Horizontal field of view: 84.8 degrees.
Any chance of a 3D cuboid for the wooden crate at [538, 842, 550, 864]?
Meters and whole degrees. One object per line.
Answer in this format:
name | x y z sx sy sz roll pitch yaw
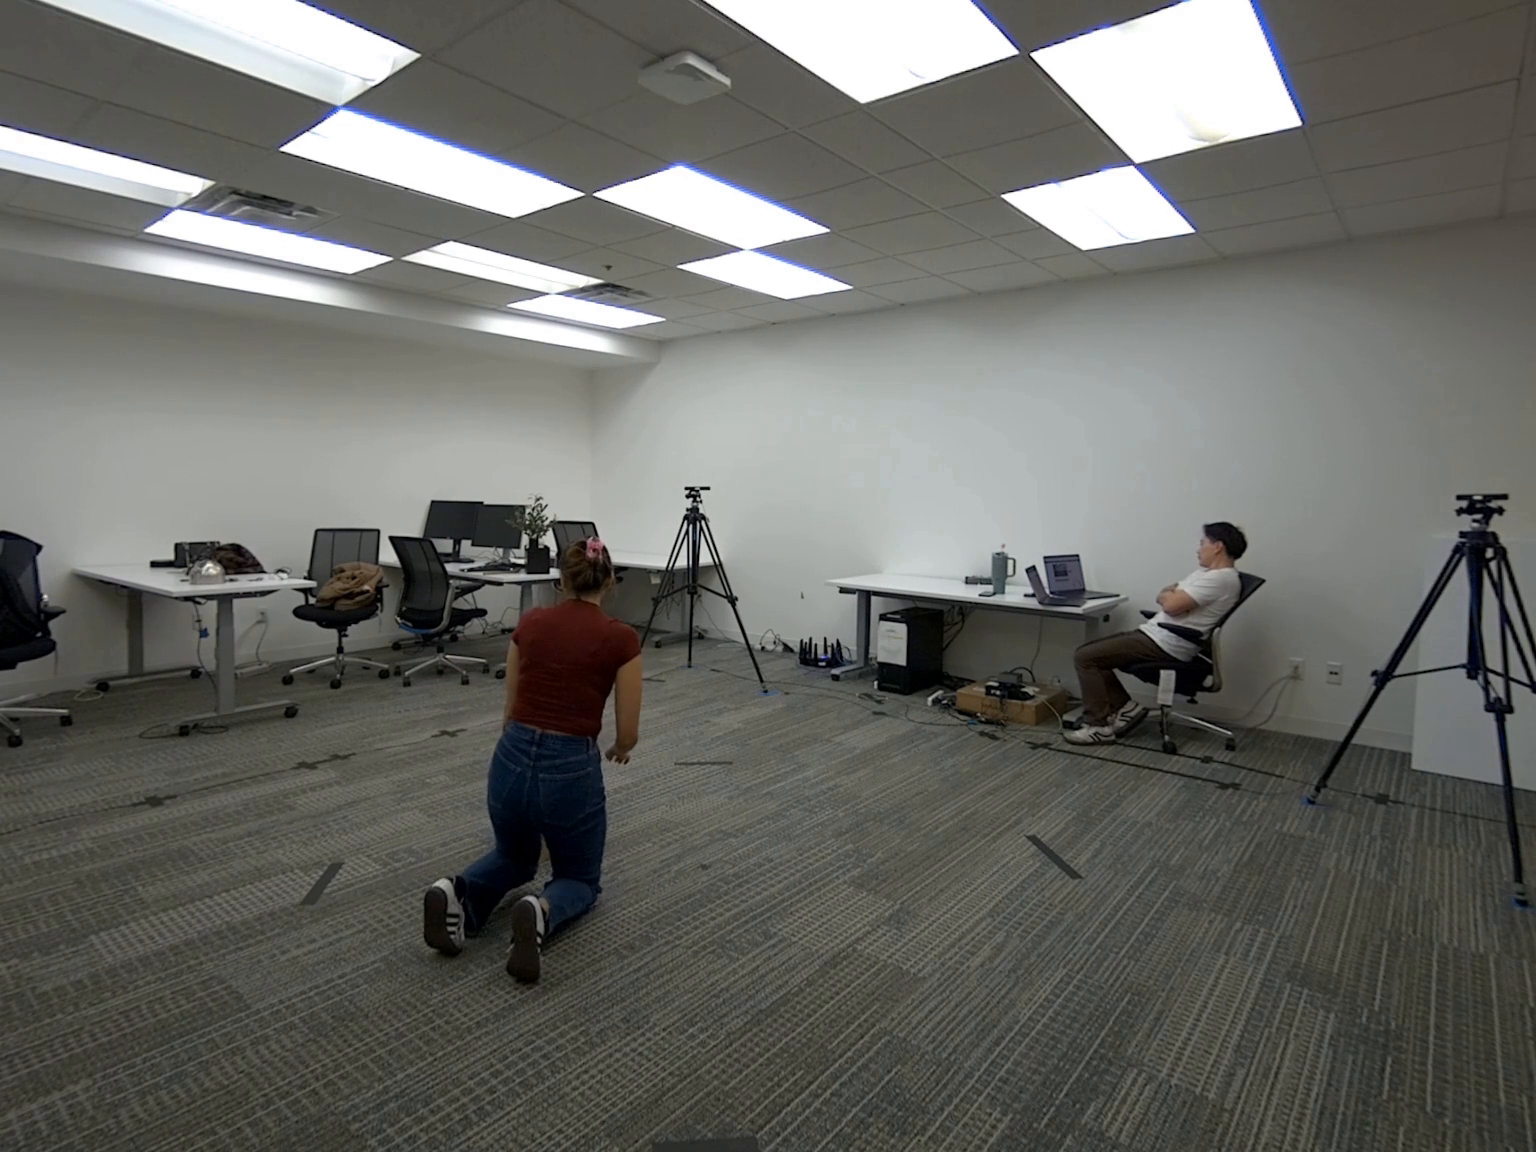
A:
wooden crate | -0.873 0.902 3.300 0.304 0.272 0.323 0 4 5
